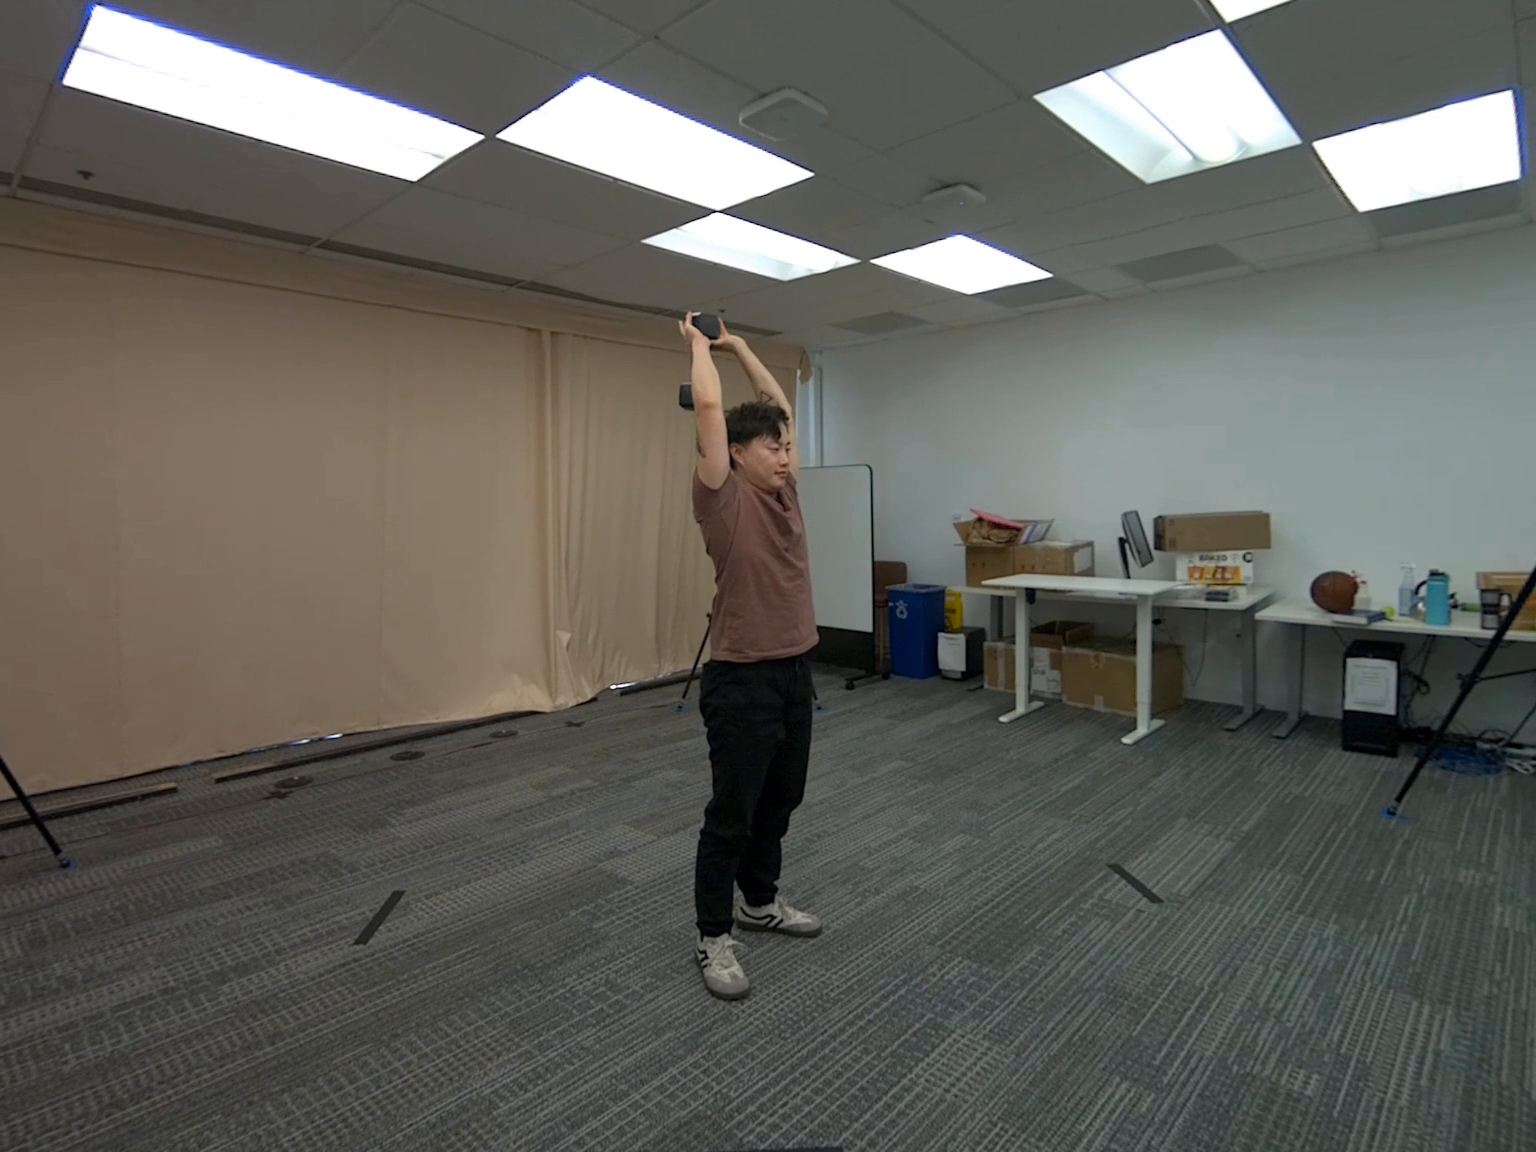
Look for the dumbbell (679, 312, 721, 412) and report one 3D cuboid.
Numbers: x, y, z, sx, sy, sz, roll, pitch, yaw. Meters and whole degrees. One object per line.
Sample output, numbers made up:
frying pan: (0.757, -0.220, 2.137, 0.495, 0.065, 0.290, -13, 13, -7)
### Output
dumbbell: (-0.210, -0.664, 2.637, 0.127, 0.293, 0.105, 9, 4, 41)
